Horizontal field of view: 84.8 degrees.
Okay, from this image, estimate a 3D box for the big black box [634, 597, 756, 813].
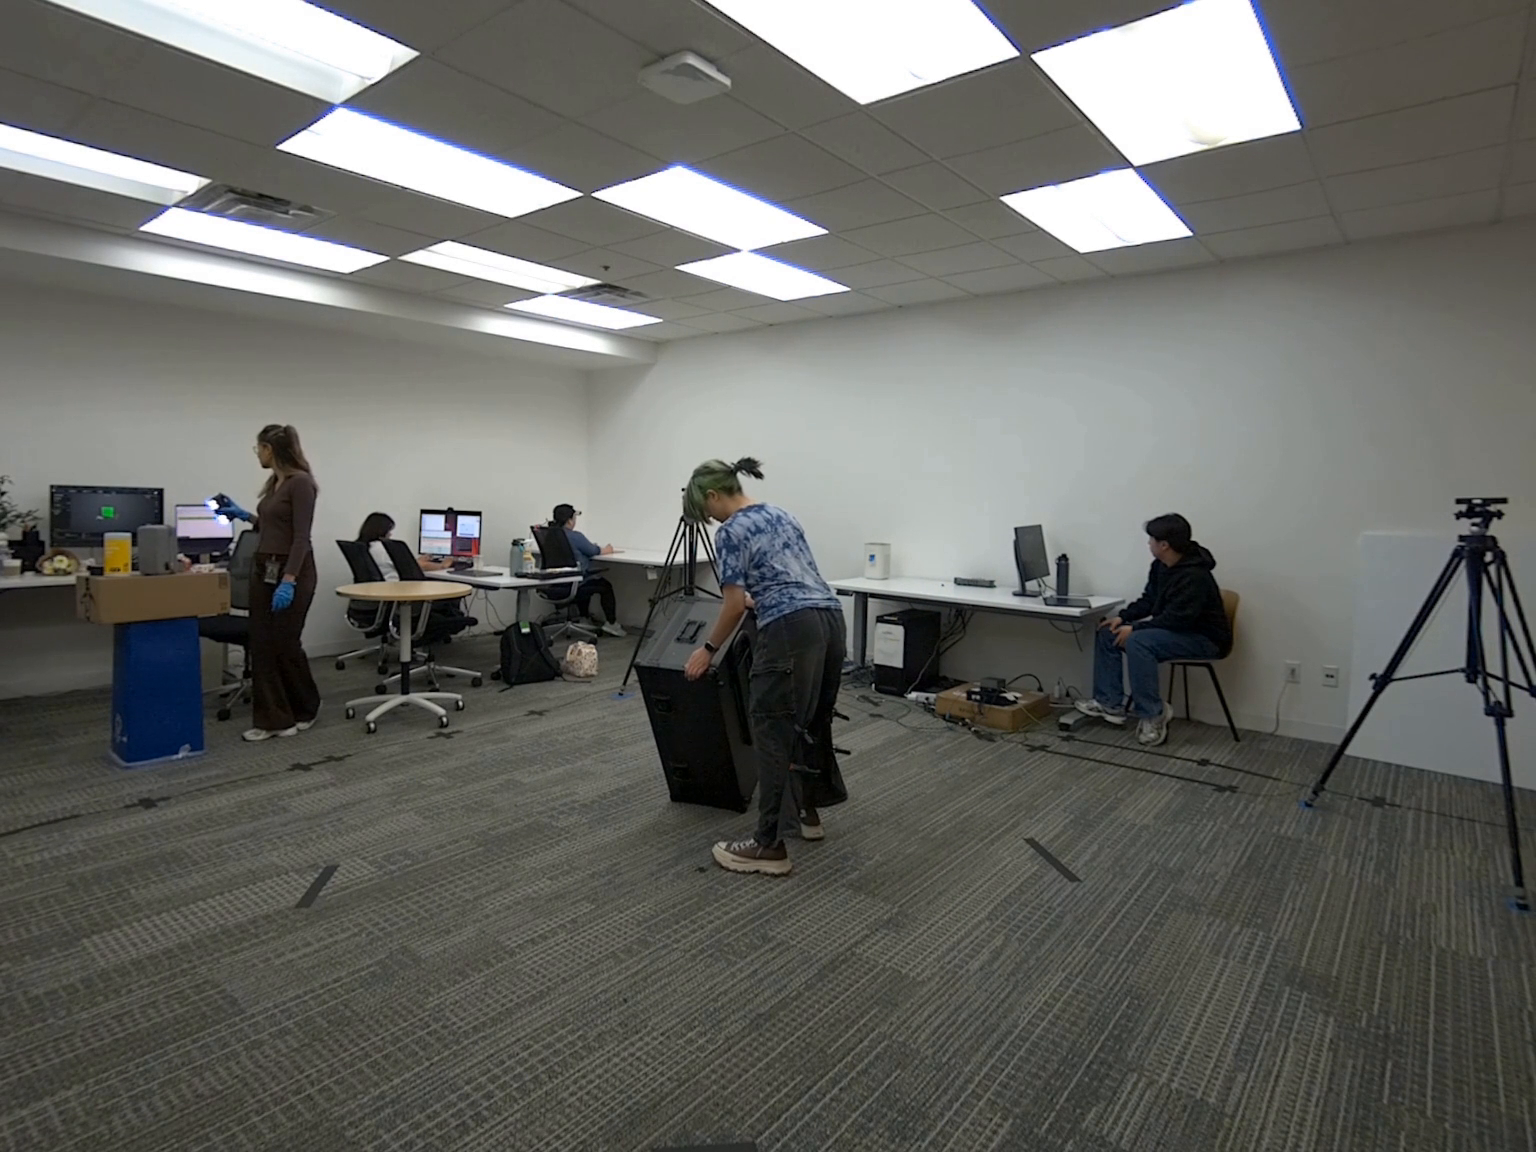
[{"bbox_3d":[-0.246,0.578,3.733,0.406,0.836,0.524,4,33,22],"label":"big black box"}]
